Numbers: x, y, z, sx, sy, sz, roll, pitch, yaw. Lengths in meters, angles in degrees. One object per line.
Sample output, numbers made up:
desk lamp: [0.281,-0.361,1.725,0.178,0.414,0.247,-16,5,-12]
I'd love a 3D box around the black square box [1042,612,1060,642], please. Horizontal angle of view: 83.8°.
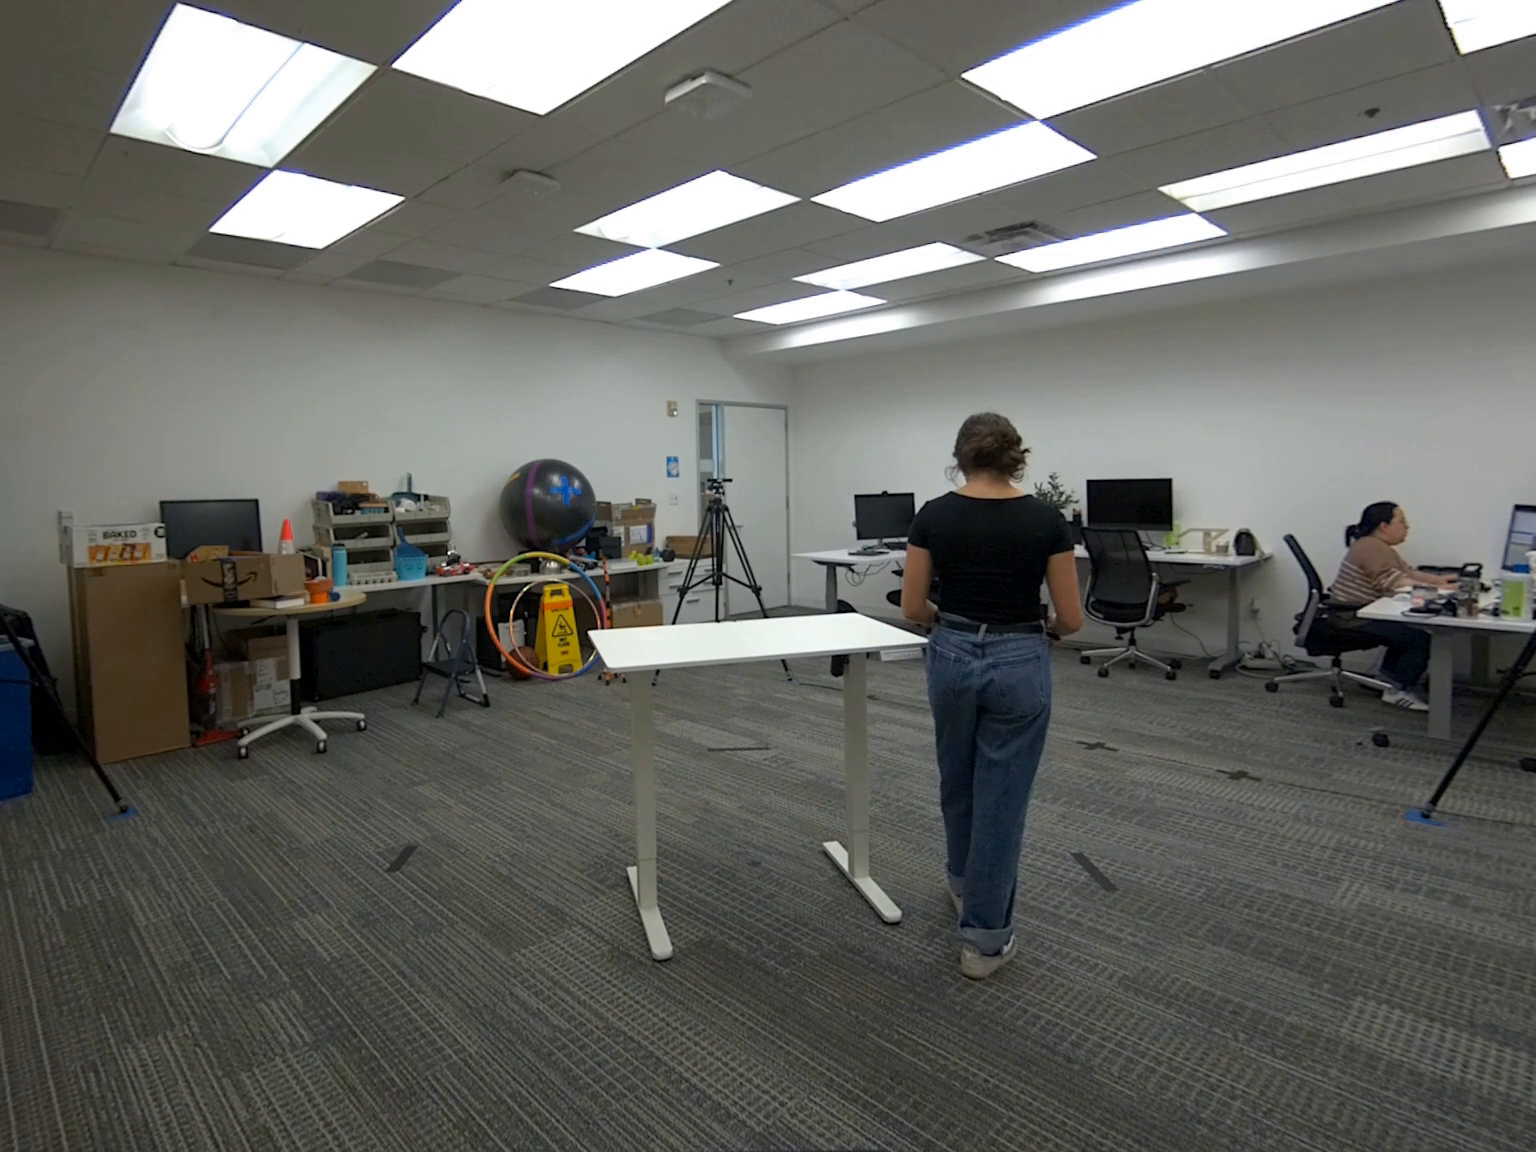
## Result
black square box: [0.775,0.116,2.647,0.221,0.154,0.226,1,15,20]
